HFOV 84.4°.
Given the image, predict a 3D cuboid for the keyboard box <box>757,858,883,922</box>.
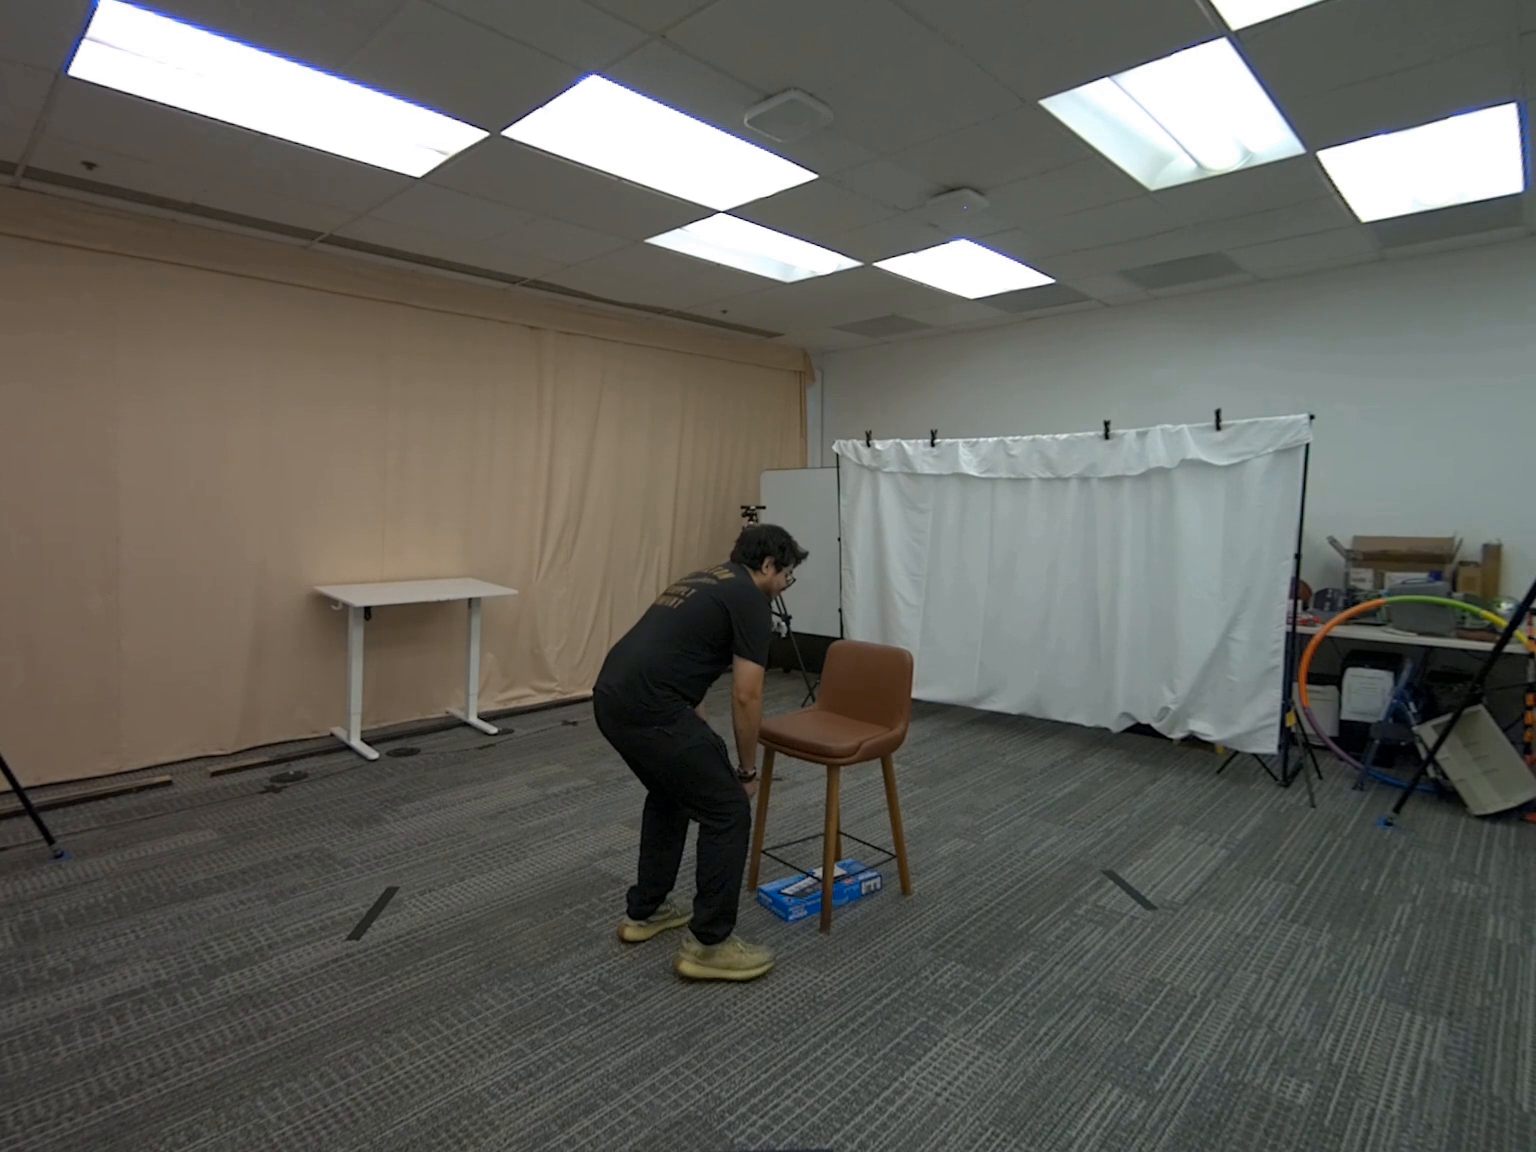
[{"bbox_3d":[0.195,1.114,3.001,0.424,0.059,0.181,-4,7,-35],"label":"keyboard box"}]
